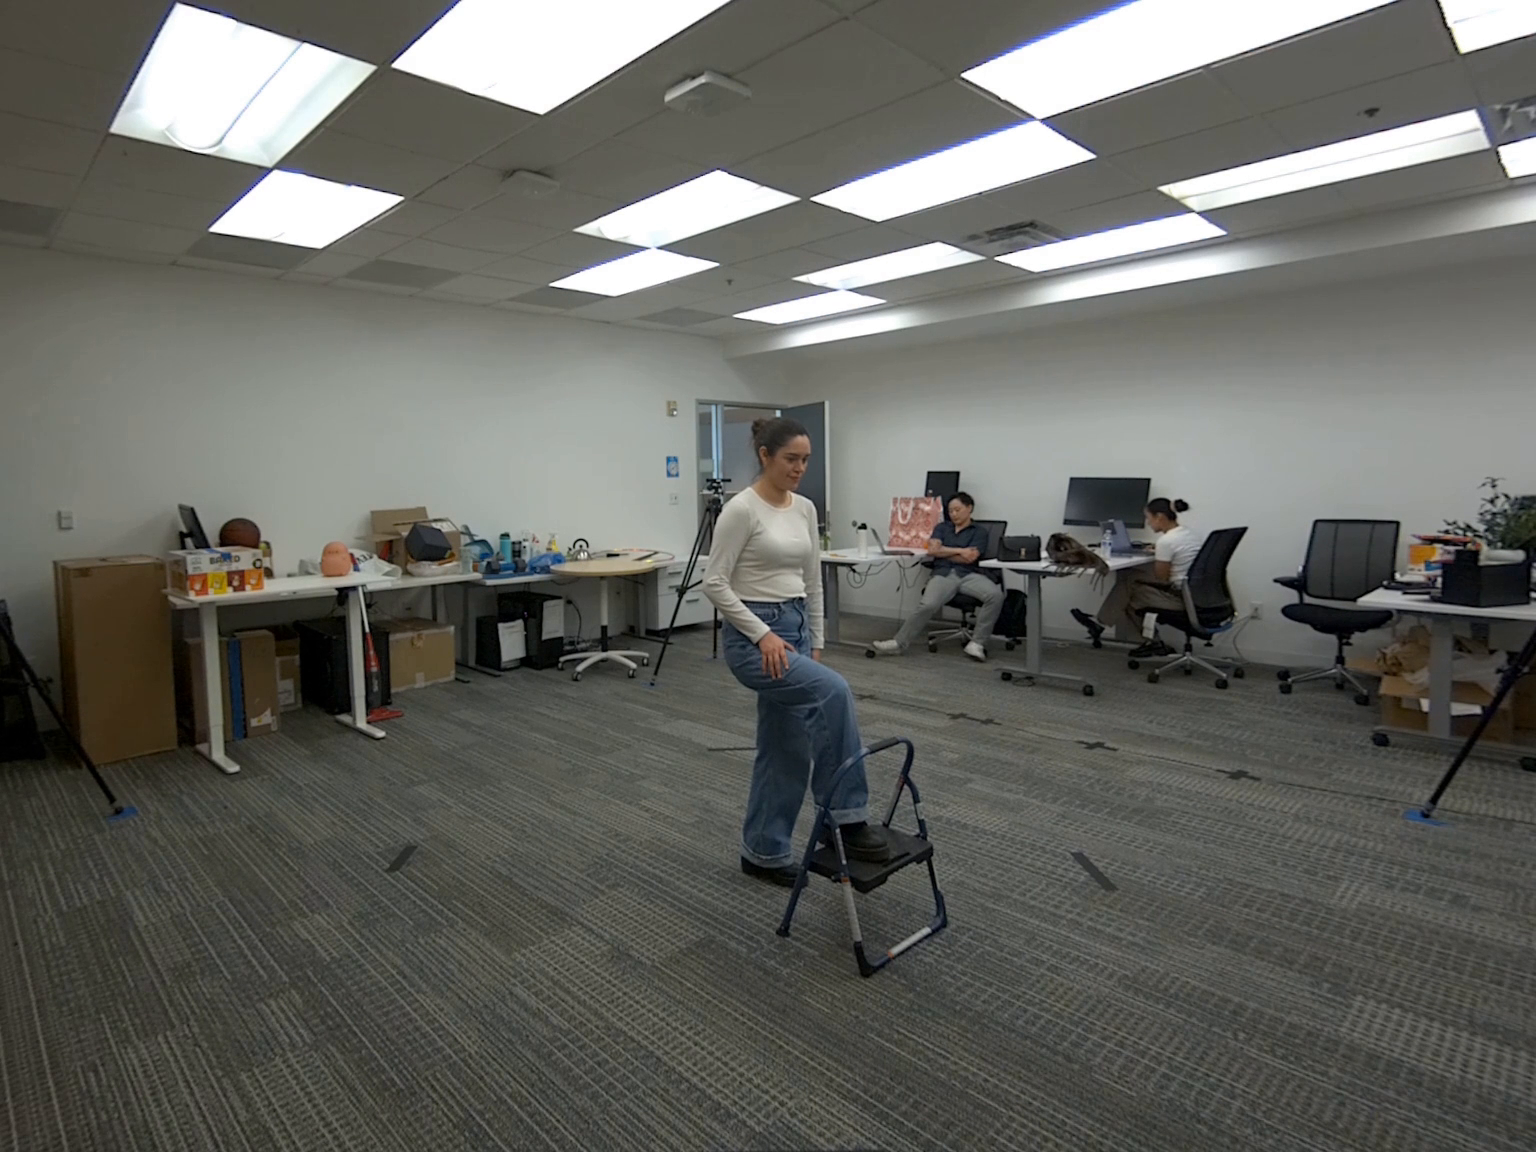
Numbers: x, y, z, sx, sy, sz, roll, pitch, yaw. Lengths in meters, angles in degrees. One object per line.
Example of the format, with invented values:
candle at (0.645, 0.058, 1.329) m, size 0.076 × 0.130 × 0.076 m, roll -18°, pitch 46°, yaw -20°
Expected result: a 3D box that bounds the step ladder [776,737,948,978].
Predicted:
step ladder at (0.293, 0.793, 2.623) m, size 0.360 × 0.604 × 0.419 m, roll 3°, pitch 6°, yaw 45°
